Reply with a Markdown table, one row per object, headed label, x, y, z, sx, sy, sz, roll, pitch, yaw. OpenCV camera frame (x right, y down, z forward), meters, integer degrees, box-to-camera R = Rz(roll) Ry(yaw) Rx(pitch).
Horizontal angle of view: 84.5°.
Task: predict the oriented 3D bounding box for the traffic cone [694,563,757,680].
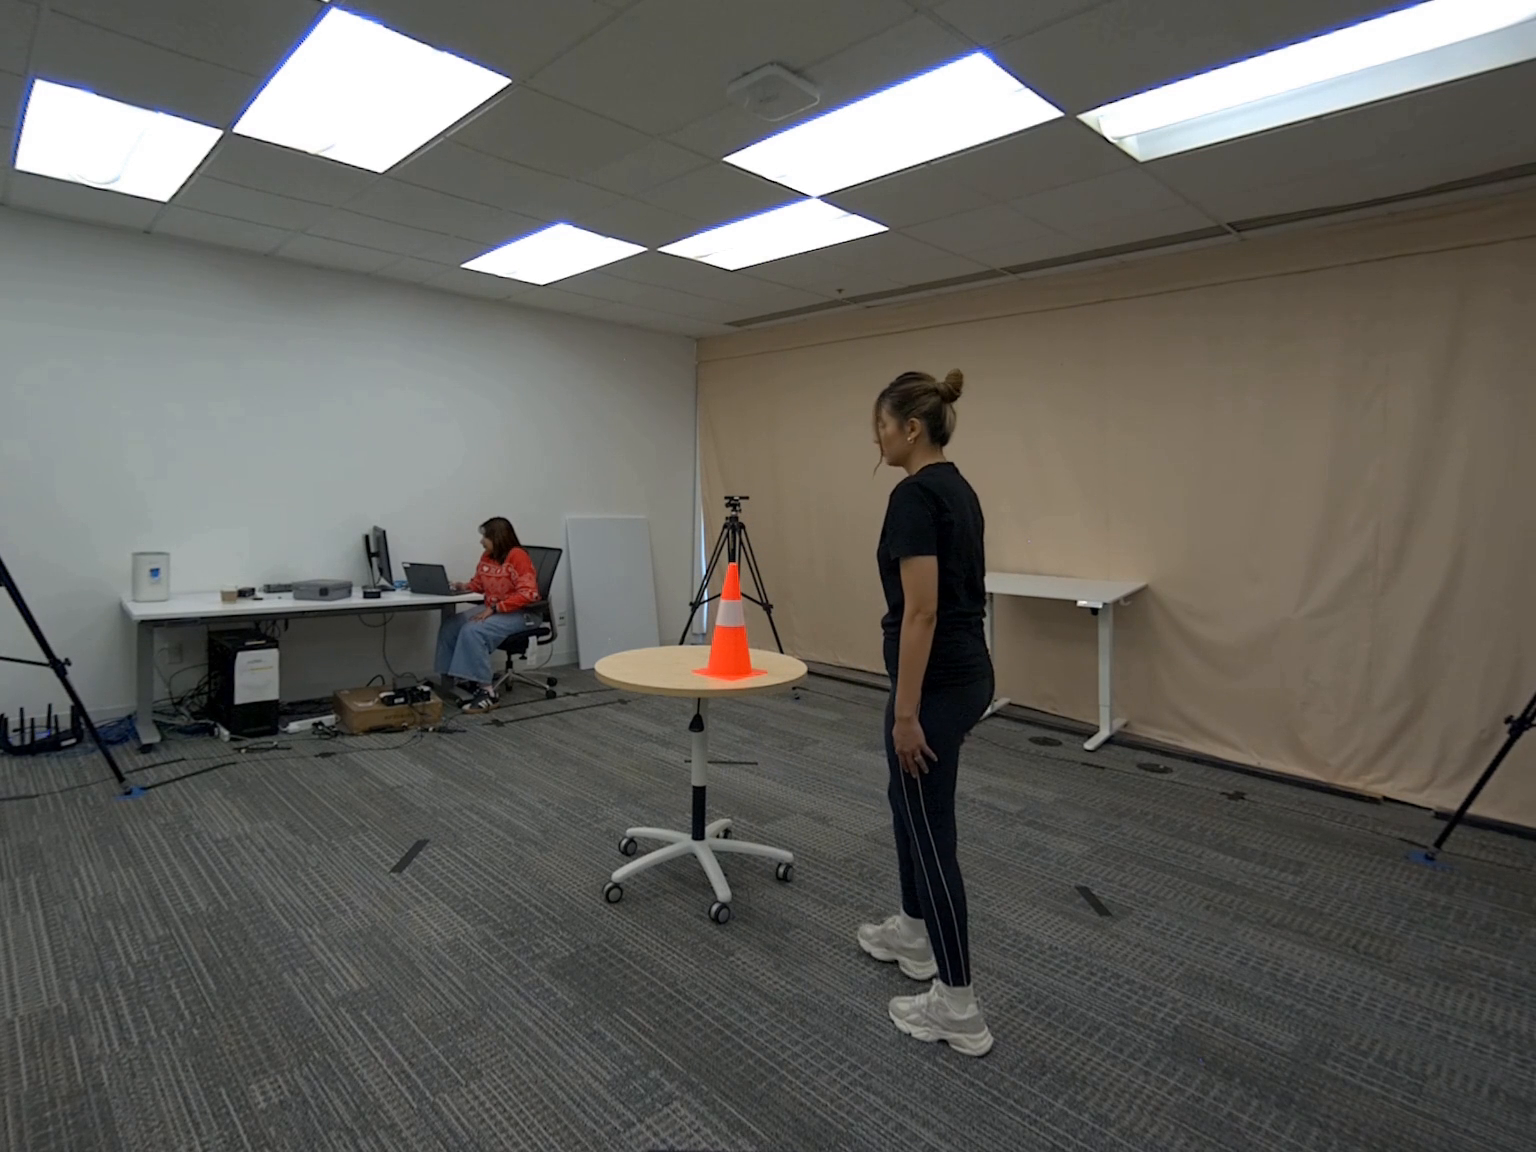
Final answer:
| label | x | y | z | sx | sy | sz | roll | pitch | yaw |
| --- | --- | --- | --- | --- | --- | --- | --- | --- | --- |
| traffic cone | -0.131 | 0.153 | 2.907 | 0.210 | 0.382 | 0.199 | 5 | 6 | 33 |
